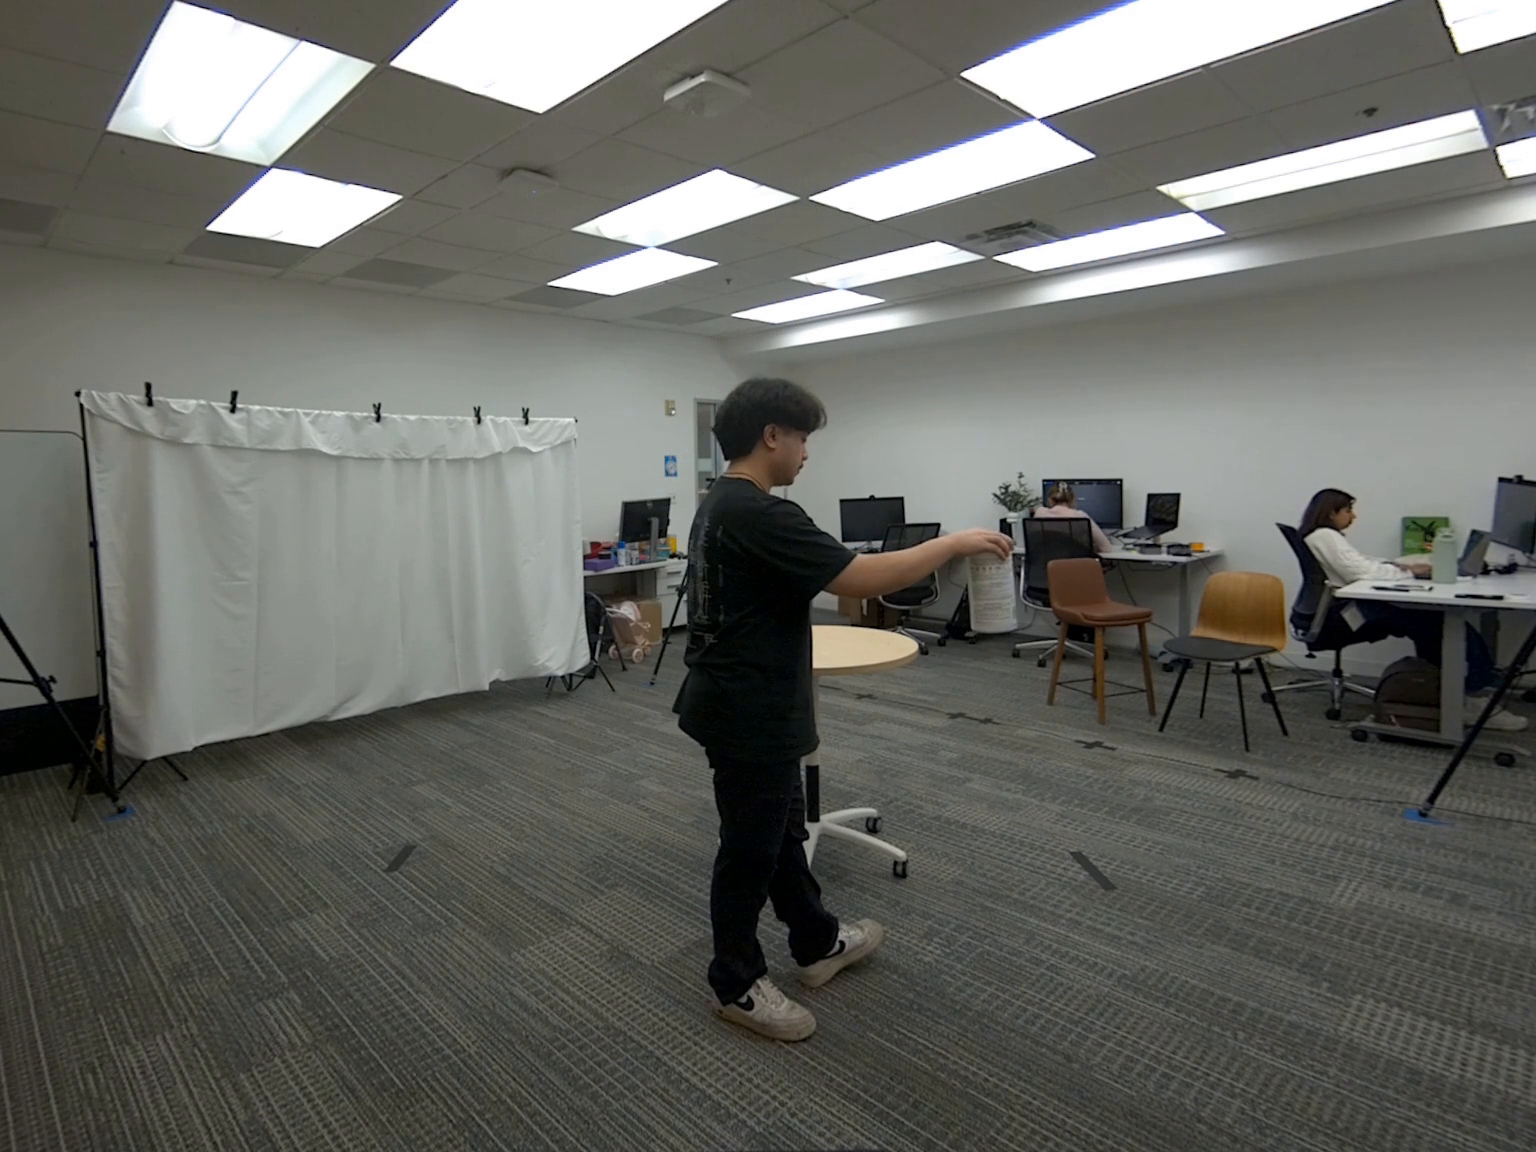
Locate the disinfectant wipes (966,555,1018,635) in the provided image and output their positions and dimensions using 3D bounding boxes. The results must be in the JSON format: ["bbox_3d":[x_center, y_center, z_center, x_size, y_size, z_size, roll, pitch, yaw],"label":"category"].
[{"bbox_3d":[0.550,0.025,2.096,0.118,0.216,0.118,-6,6,-1],"label":"disinfectant wipes"}]
